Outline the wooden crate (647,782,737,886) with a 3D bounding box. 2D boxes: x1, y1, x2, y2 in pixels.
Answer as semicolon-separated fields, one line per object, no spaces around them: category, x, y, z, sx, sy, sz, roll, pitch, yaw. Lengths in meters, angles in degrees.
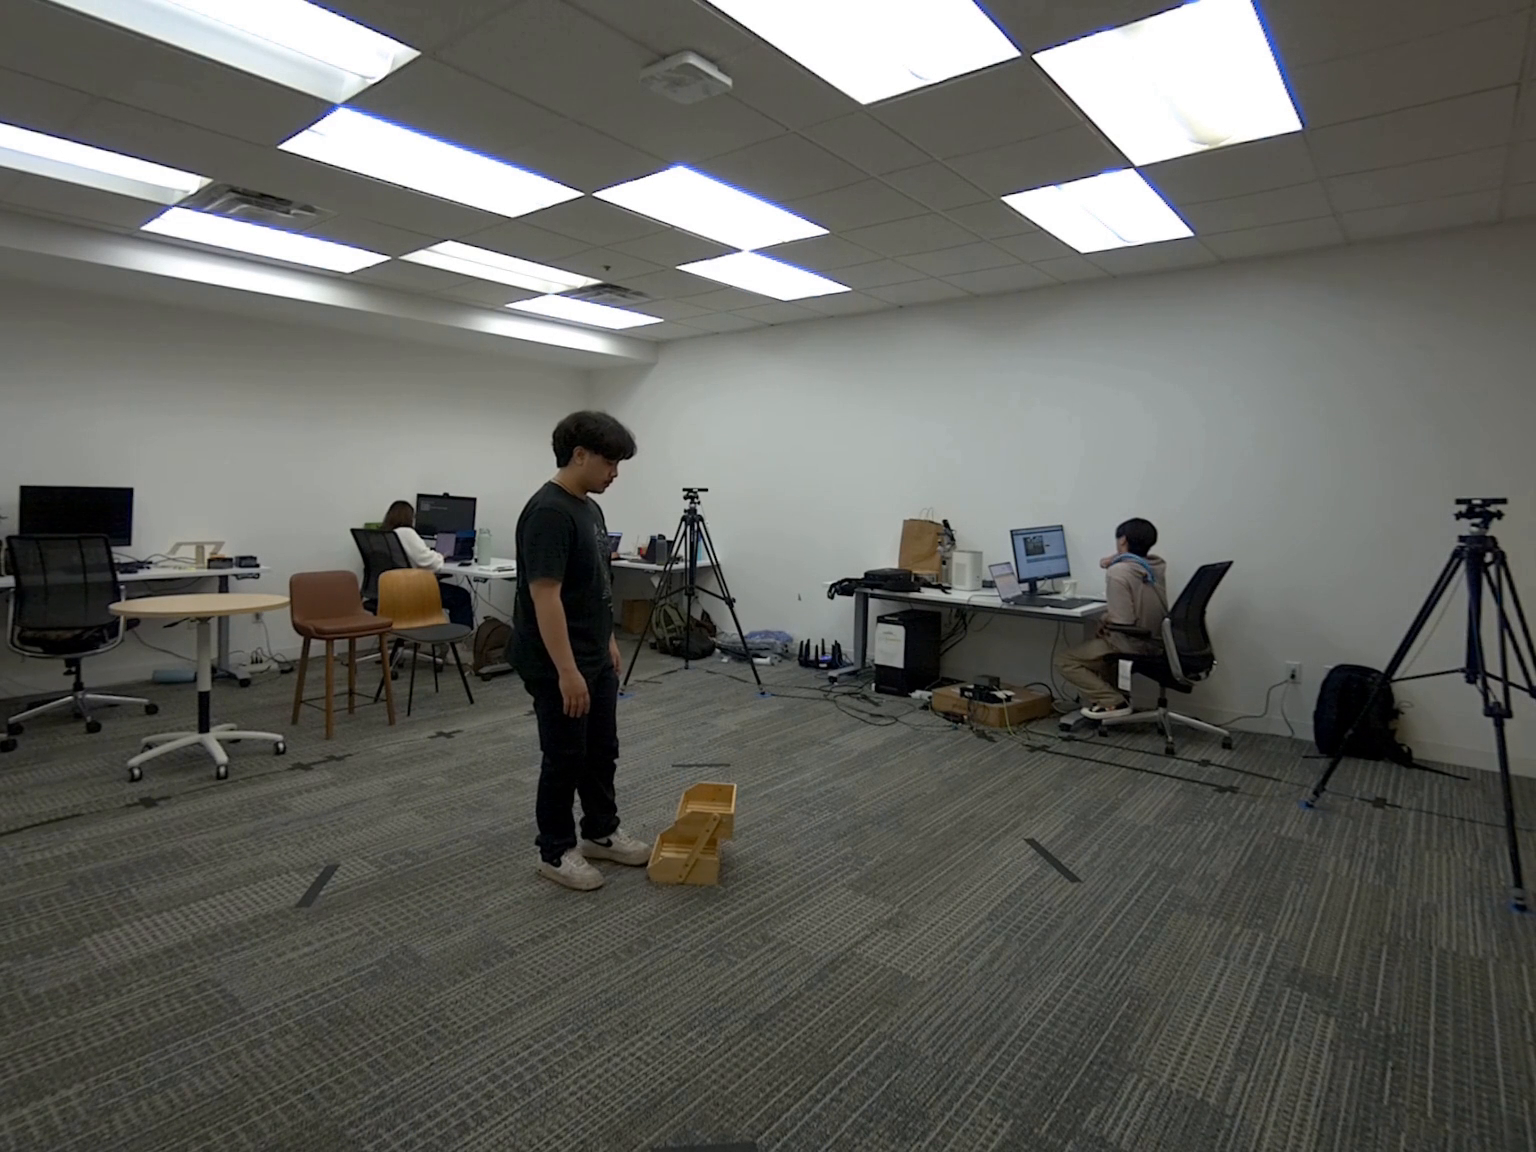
wooden crate;-0.289;0.938;3.131;0.303;0.272;0.325;2;4;1
